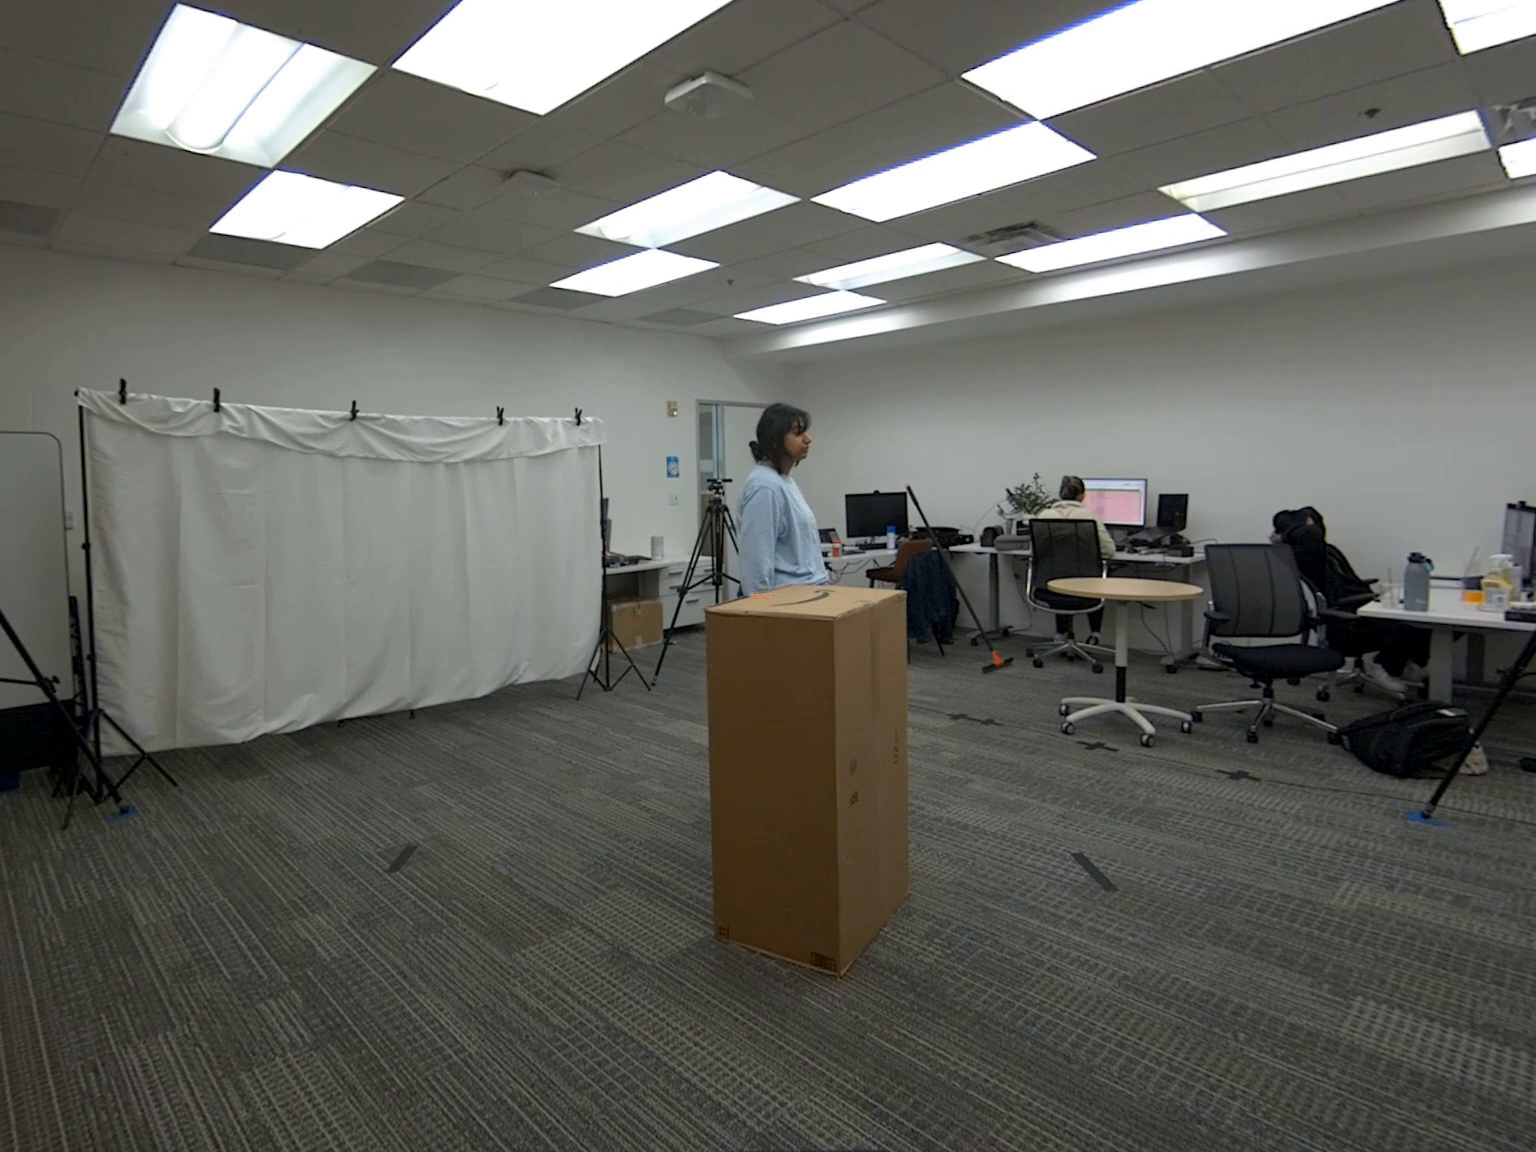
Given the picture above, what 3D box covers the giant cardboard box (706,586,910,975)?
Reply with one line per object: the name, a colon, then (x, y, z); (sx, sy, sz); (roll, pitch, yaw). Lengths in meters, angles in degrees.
giant cardboard box: (0.141, 0.582, 2.700); (0.459, 1.023, 0.571); (2, 6, 30)
